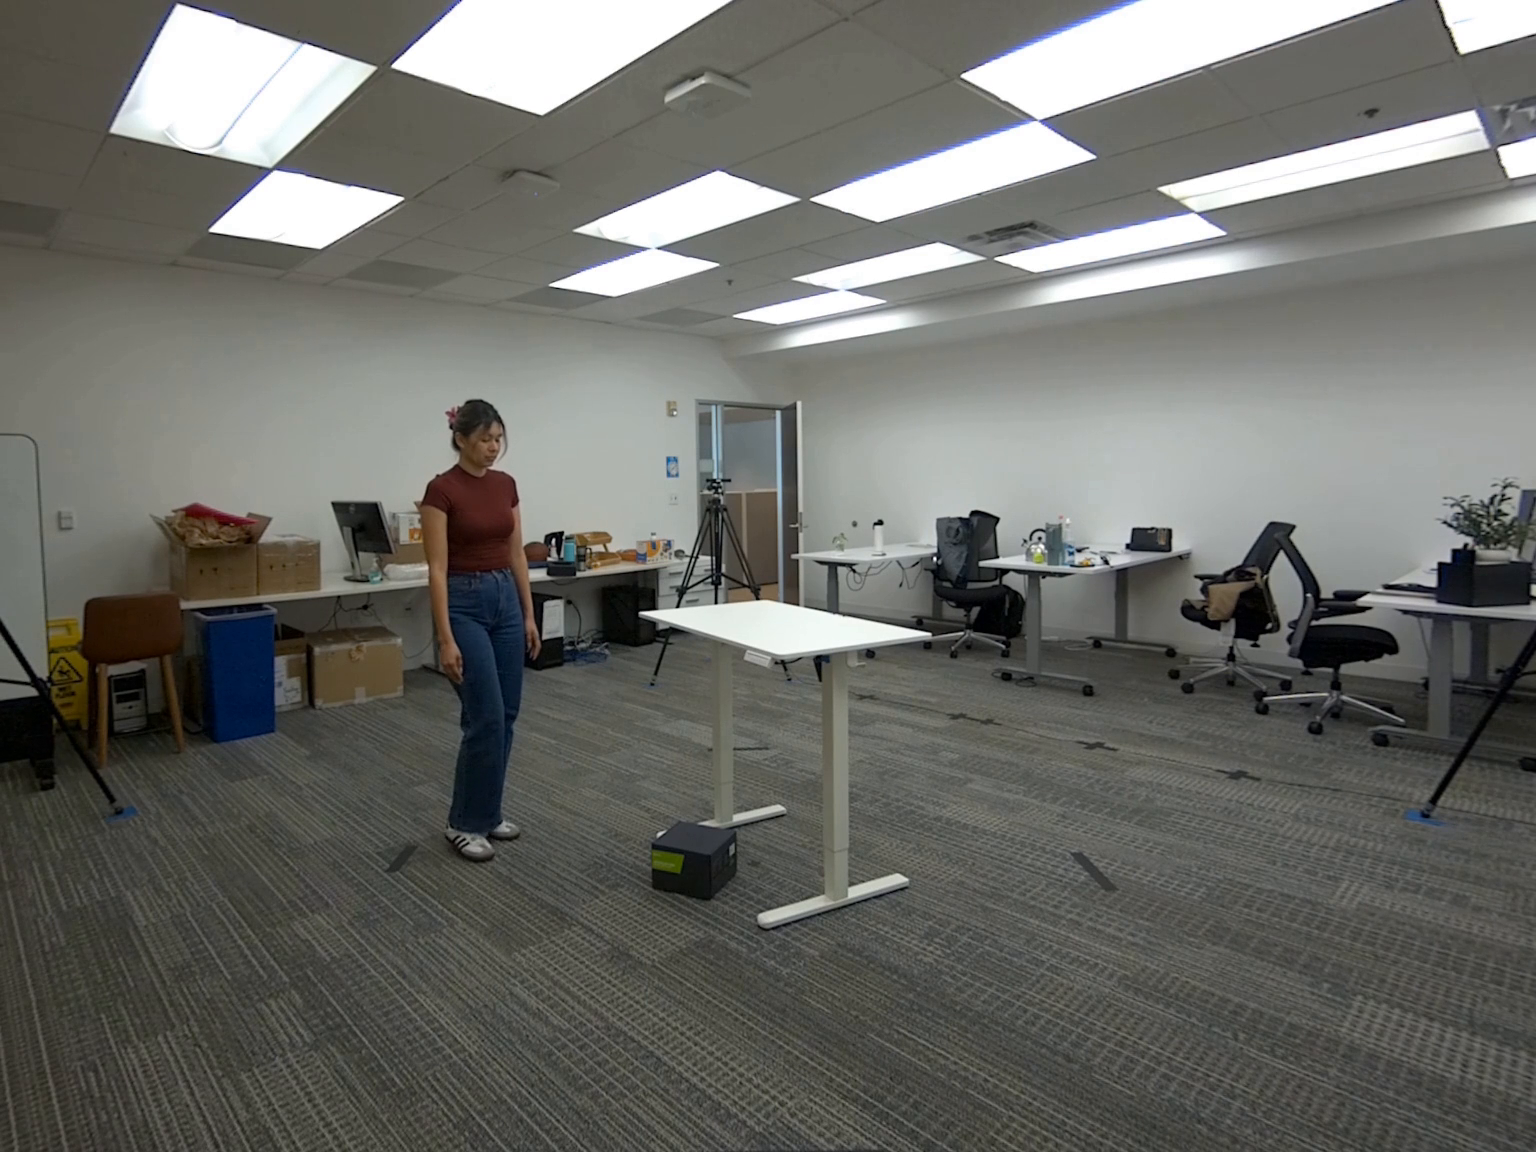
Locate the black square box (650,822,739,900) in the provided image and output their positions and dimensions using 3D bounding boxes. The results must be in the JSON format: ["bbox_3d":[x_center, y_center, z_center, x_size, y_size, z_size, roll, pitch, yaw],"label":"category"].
[{"bbox_3d":[-0.254,0.978,2.974,0.233,0.155,0.213,2,6,23],"label":"black square box"}]
